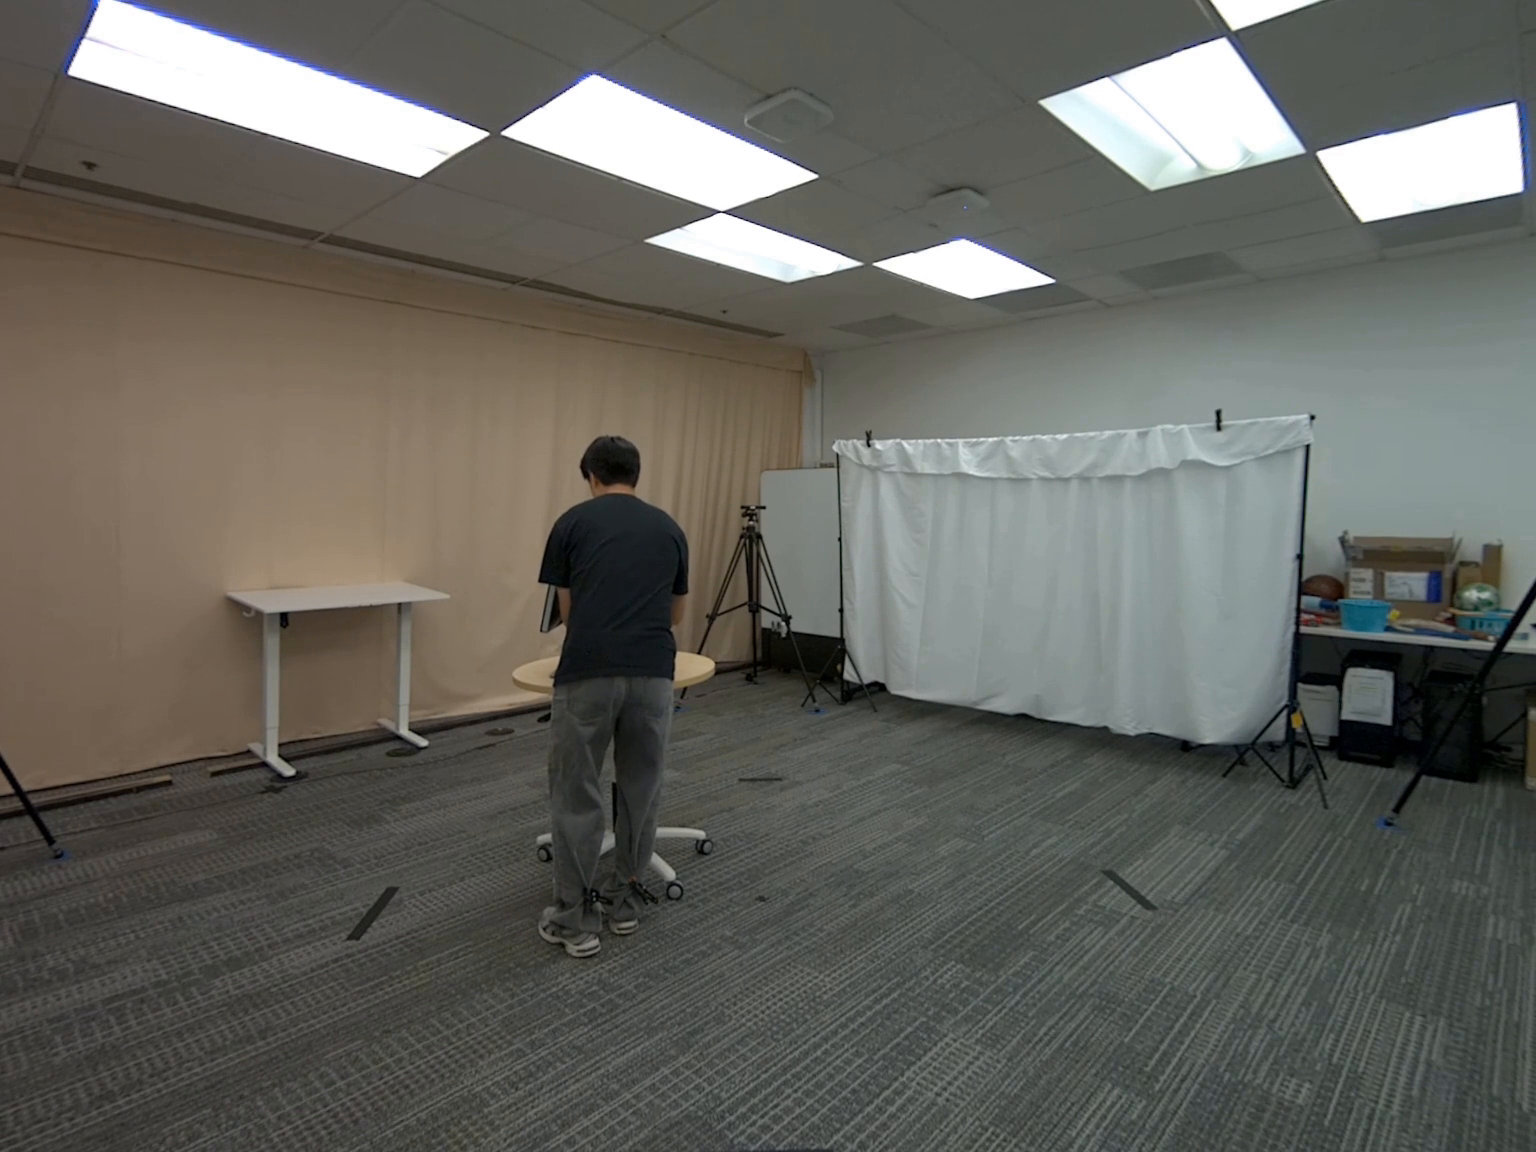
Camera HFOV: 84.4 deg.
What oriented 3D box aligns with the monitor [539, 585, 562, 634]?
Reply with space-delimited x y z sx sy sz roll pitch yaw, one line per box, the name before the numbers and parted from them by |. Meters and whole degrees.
monitor | -0.709 0.094 3.138 0.222 0.565 0.562 -3 4 0
